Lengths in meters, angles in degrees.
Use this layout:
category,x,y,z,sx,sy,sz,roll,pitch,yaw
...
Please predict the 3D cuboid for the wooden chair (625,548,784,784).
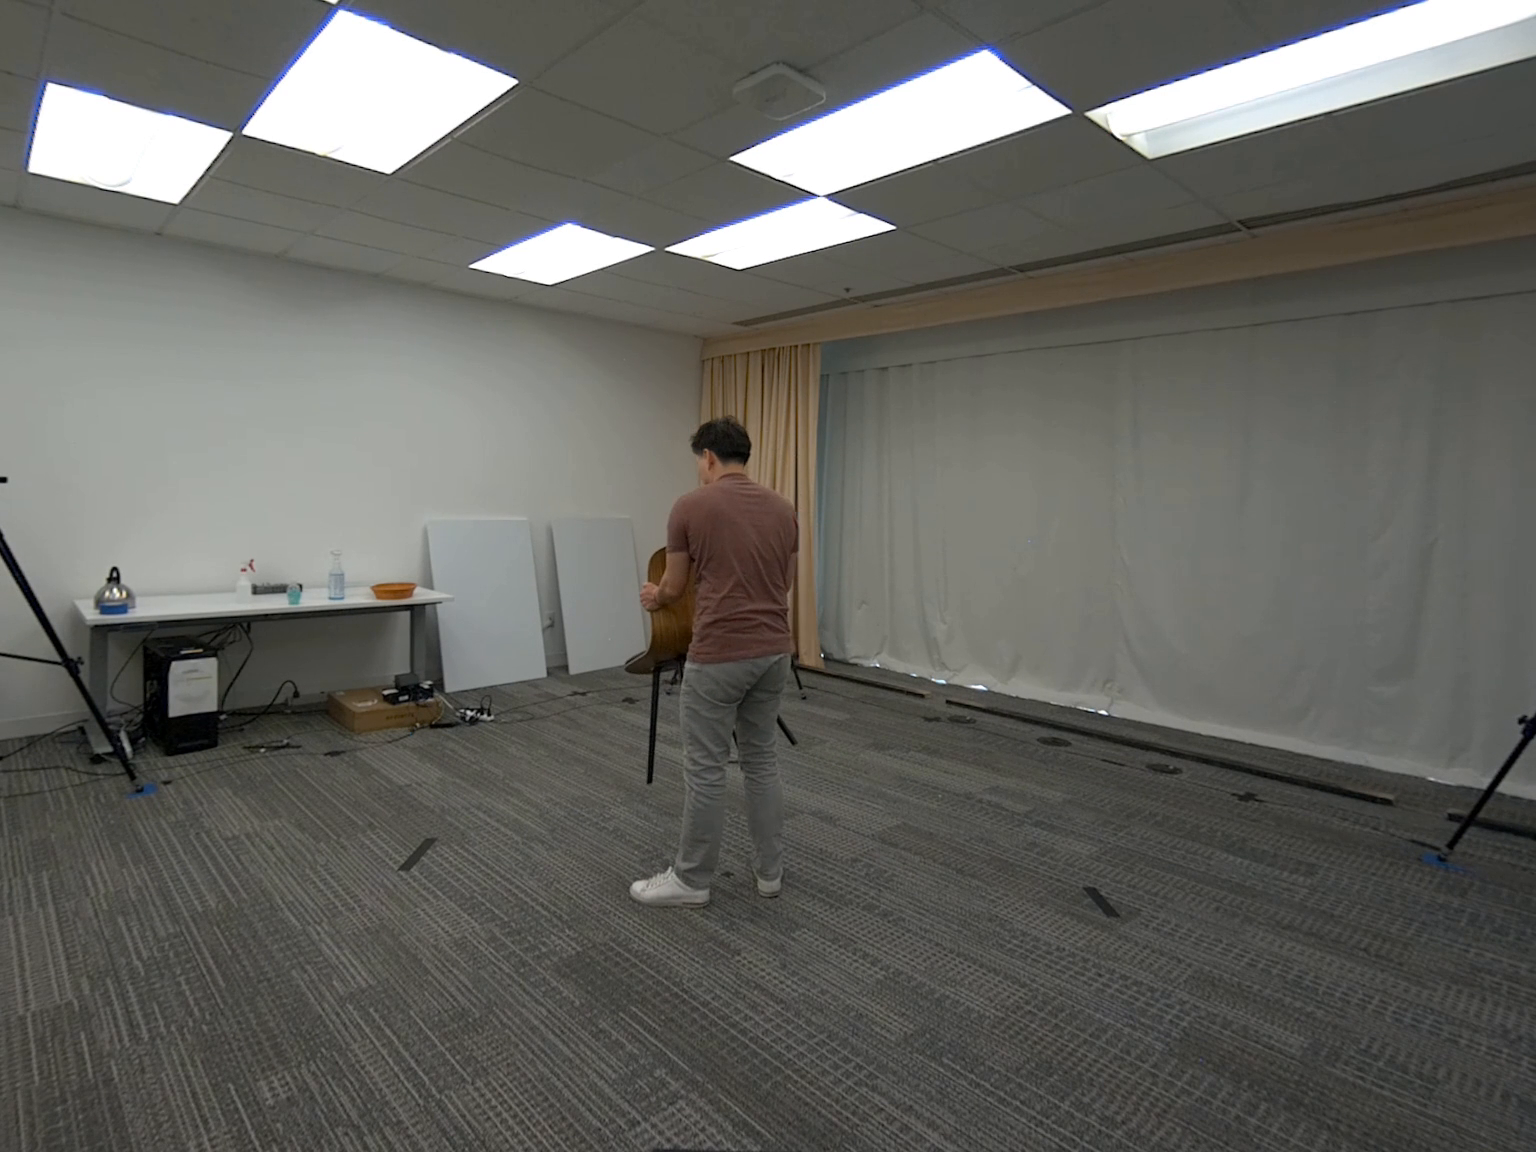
category,x,y,z,sx,sy,sz,roll,pitch,yaw
wooden chair,-0.313,0.339,3.371,0.469,0.884,0.528,-8,-10,-31
